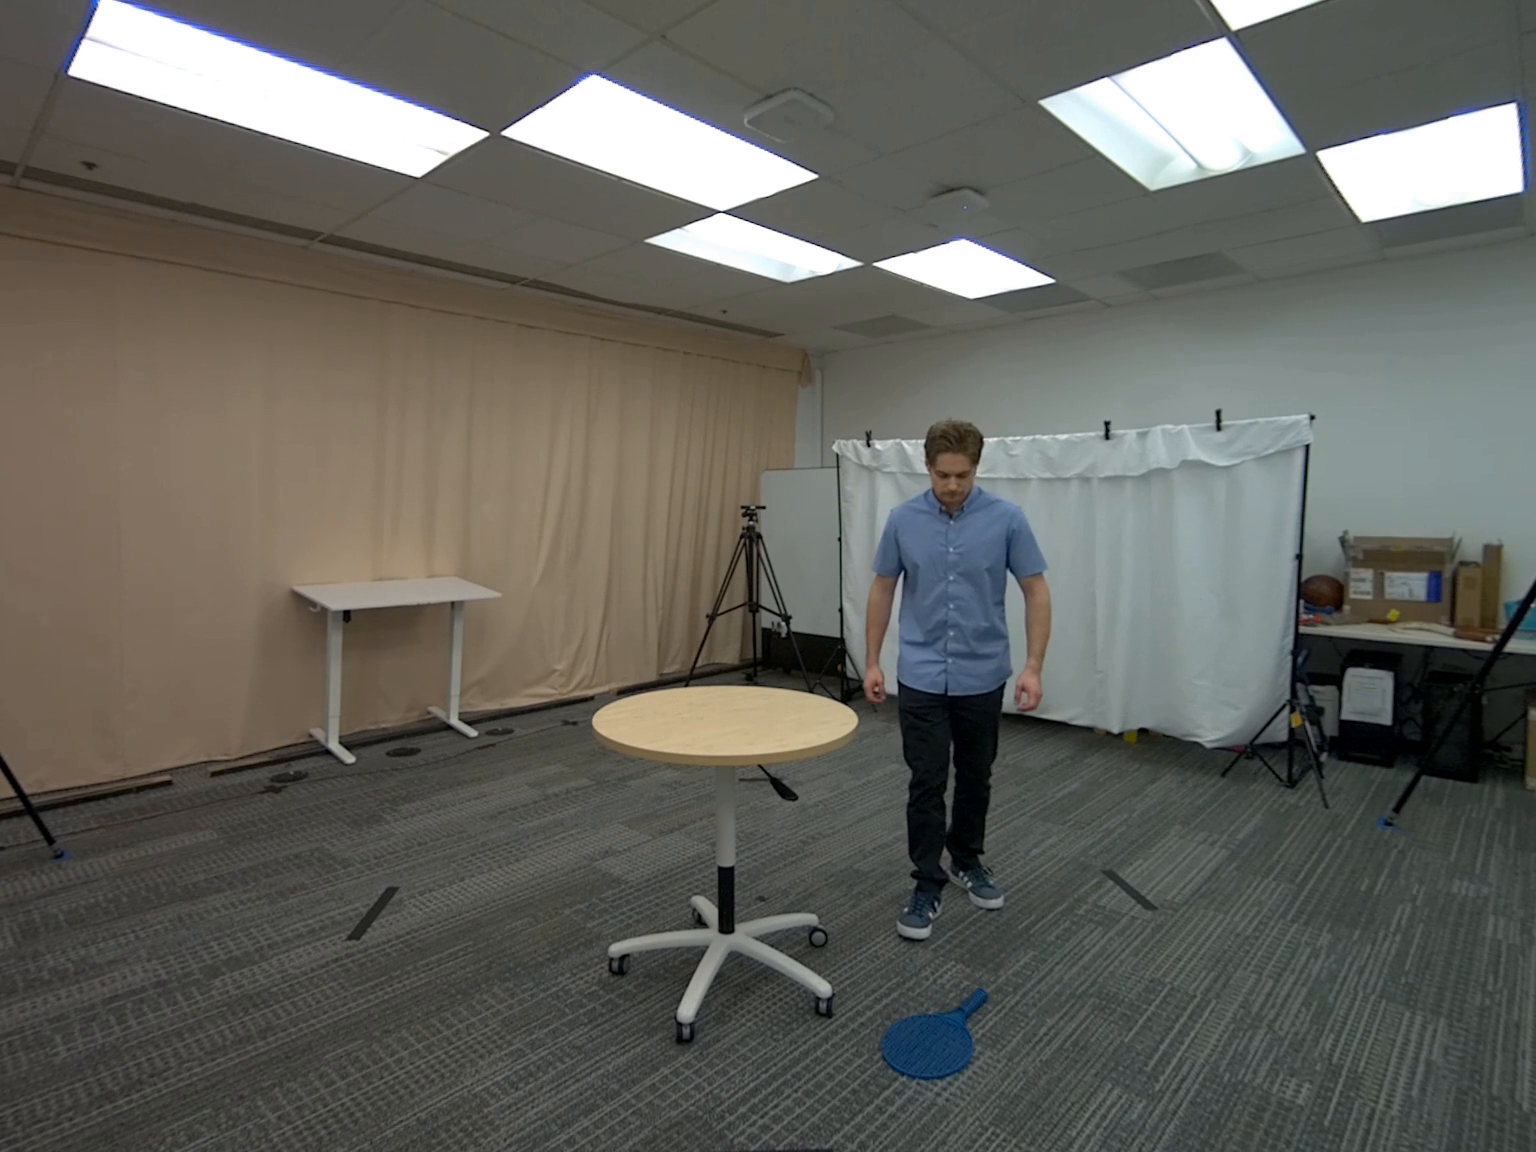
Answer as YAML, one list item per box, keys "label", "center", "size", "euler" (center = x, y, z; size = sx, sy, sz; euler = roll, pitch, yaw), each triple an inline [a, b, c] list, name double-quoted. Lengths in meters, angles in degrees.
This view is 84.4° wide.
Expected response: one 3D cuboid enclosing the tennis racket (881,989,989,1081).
- label: "tennis racket"
  center: [0.473, 1.196, 2.217]
  size: [0.221, 0.031, 0.420]
  euler: [5, 8, 44]
